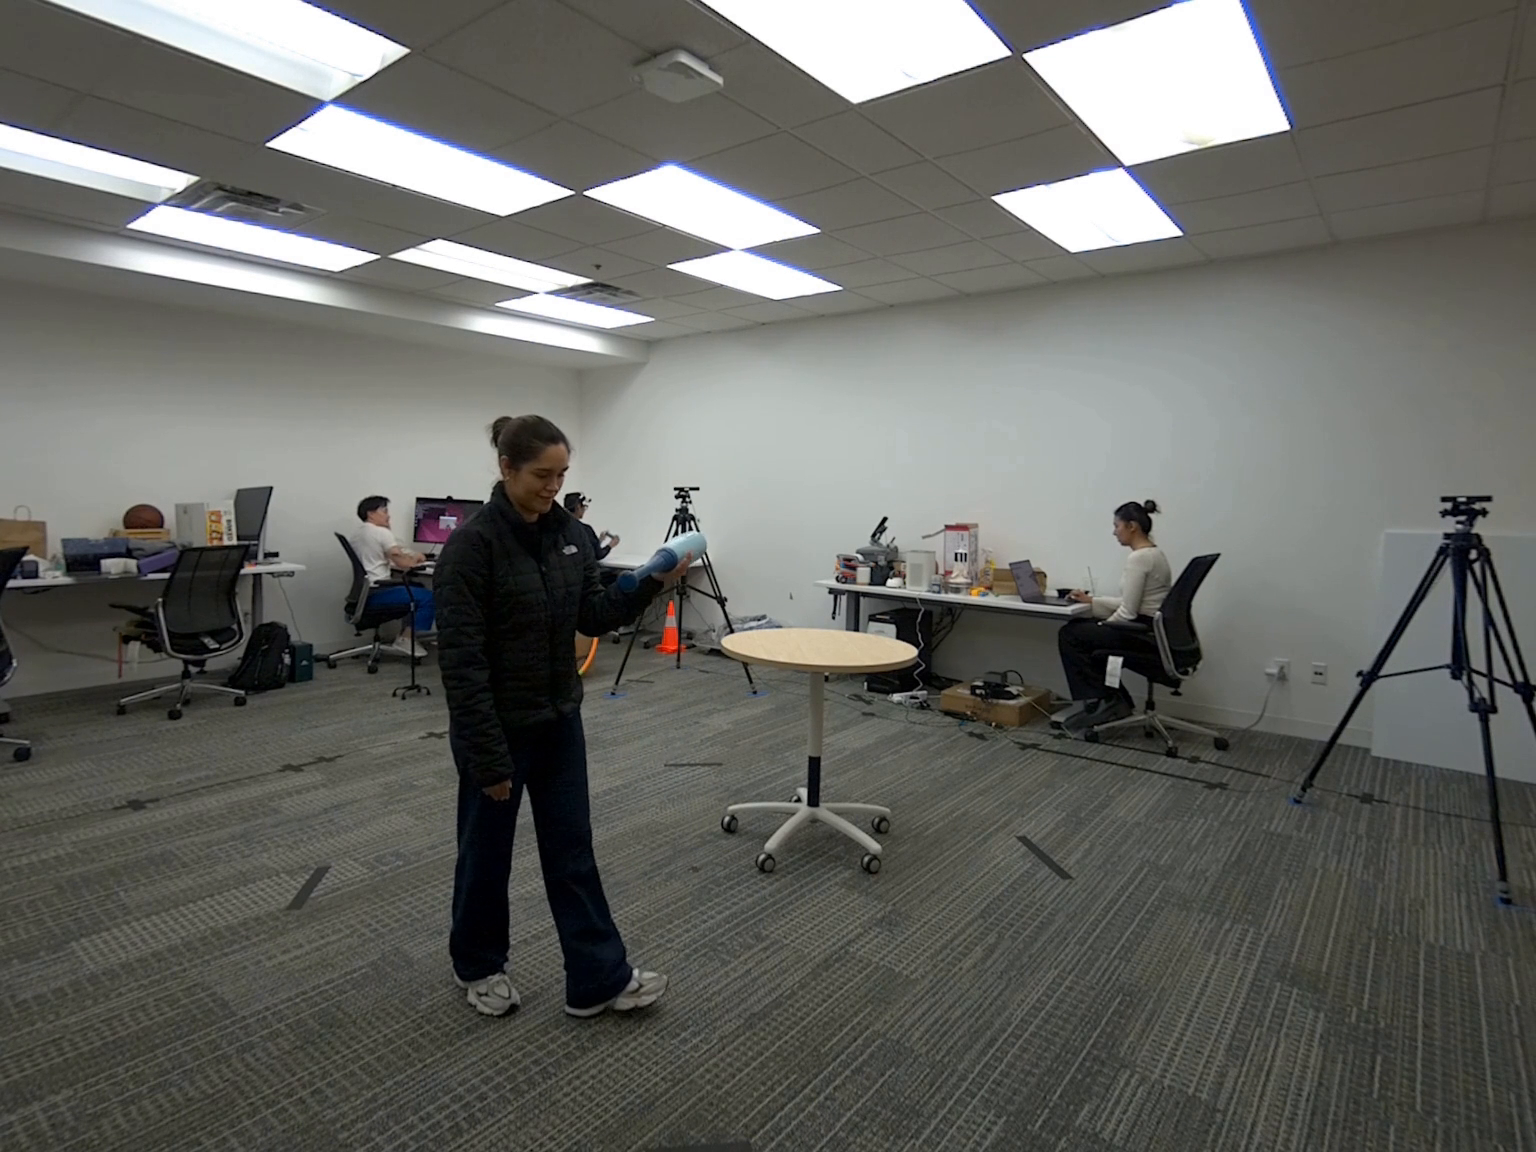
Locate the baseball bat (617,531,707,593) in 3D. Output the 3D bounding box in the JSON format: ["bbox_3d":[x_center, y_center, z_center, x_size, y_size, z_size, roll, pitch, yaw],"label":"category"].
[{"bbox_3d":[-0.270,-0.036,2.251,0.090,0.088,0.539,2,12,14],"label":"baseball bat"}]
